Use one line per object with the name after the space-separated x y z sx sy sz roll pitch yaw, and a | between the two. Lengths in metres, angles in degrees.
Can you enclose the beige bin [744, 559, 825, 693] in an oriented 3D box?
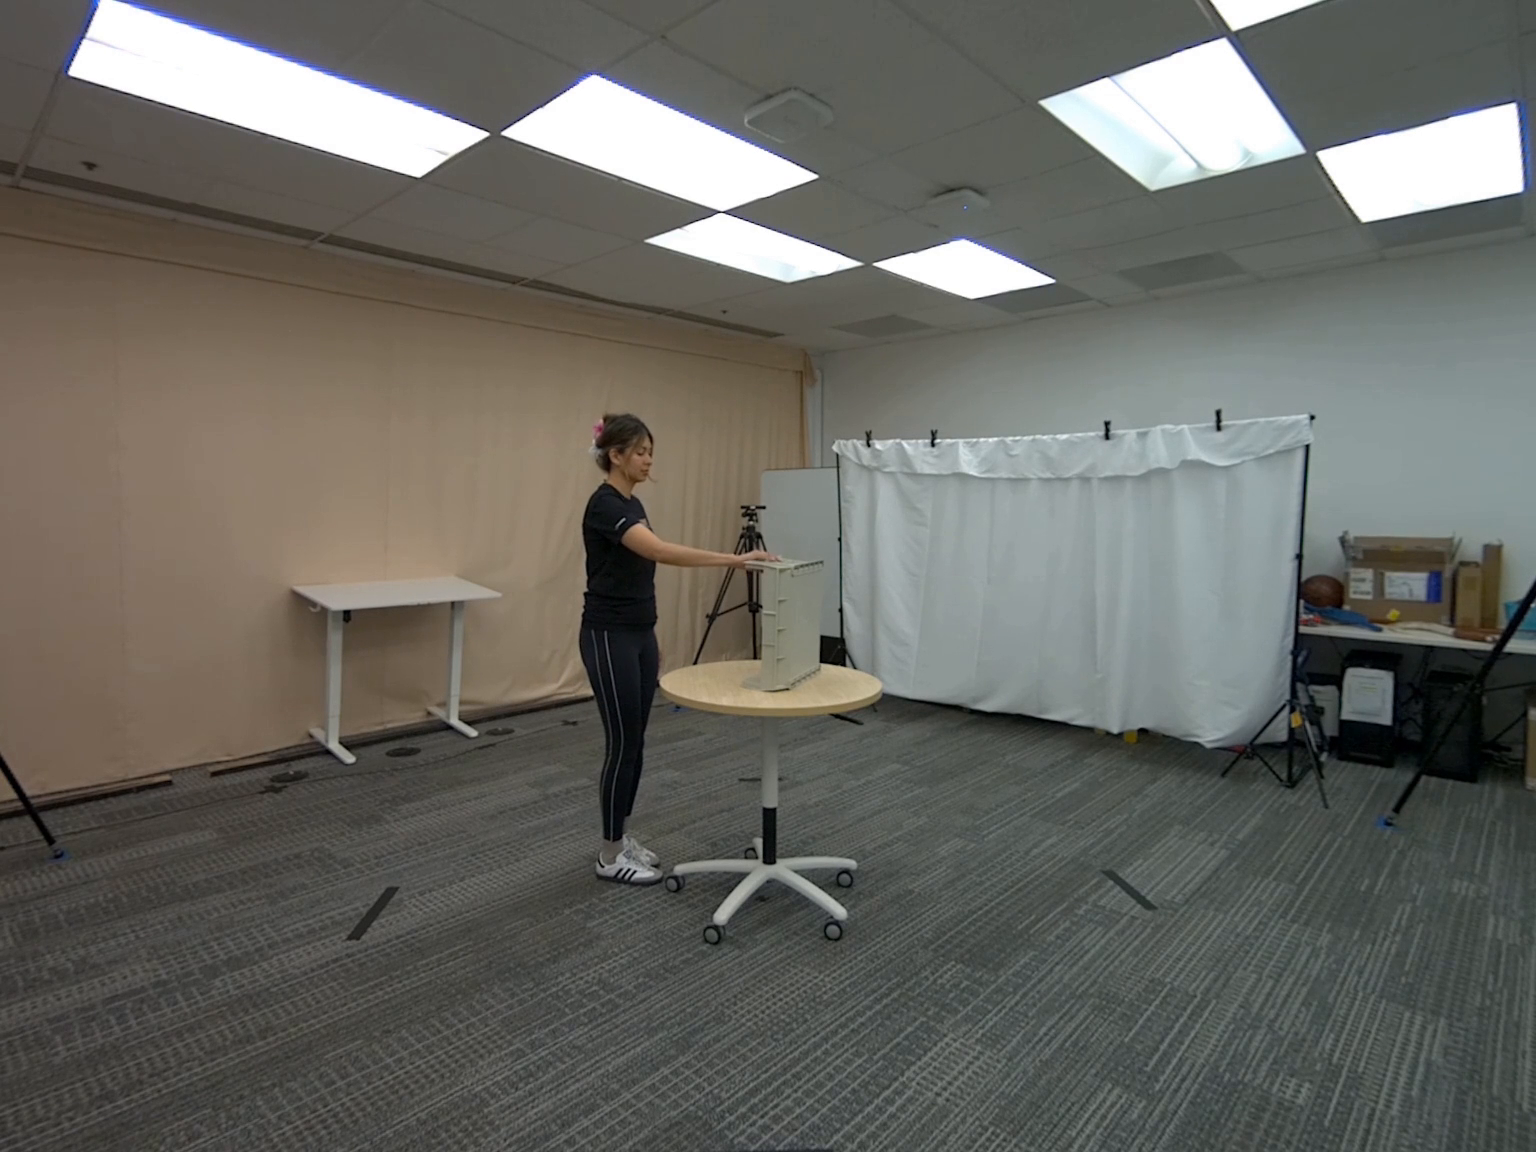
0.049 0.154 2.918 0.194 0.421 0.368 3 5 25 | beige bin
